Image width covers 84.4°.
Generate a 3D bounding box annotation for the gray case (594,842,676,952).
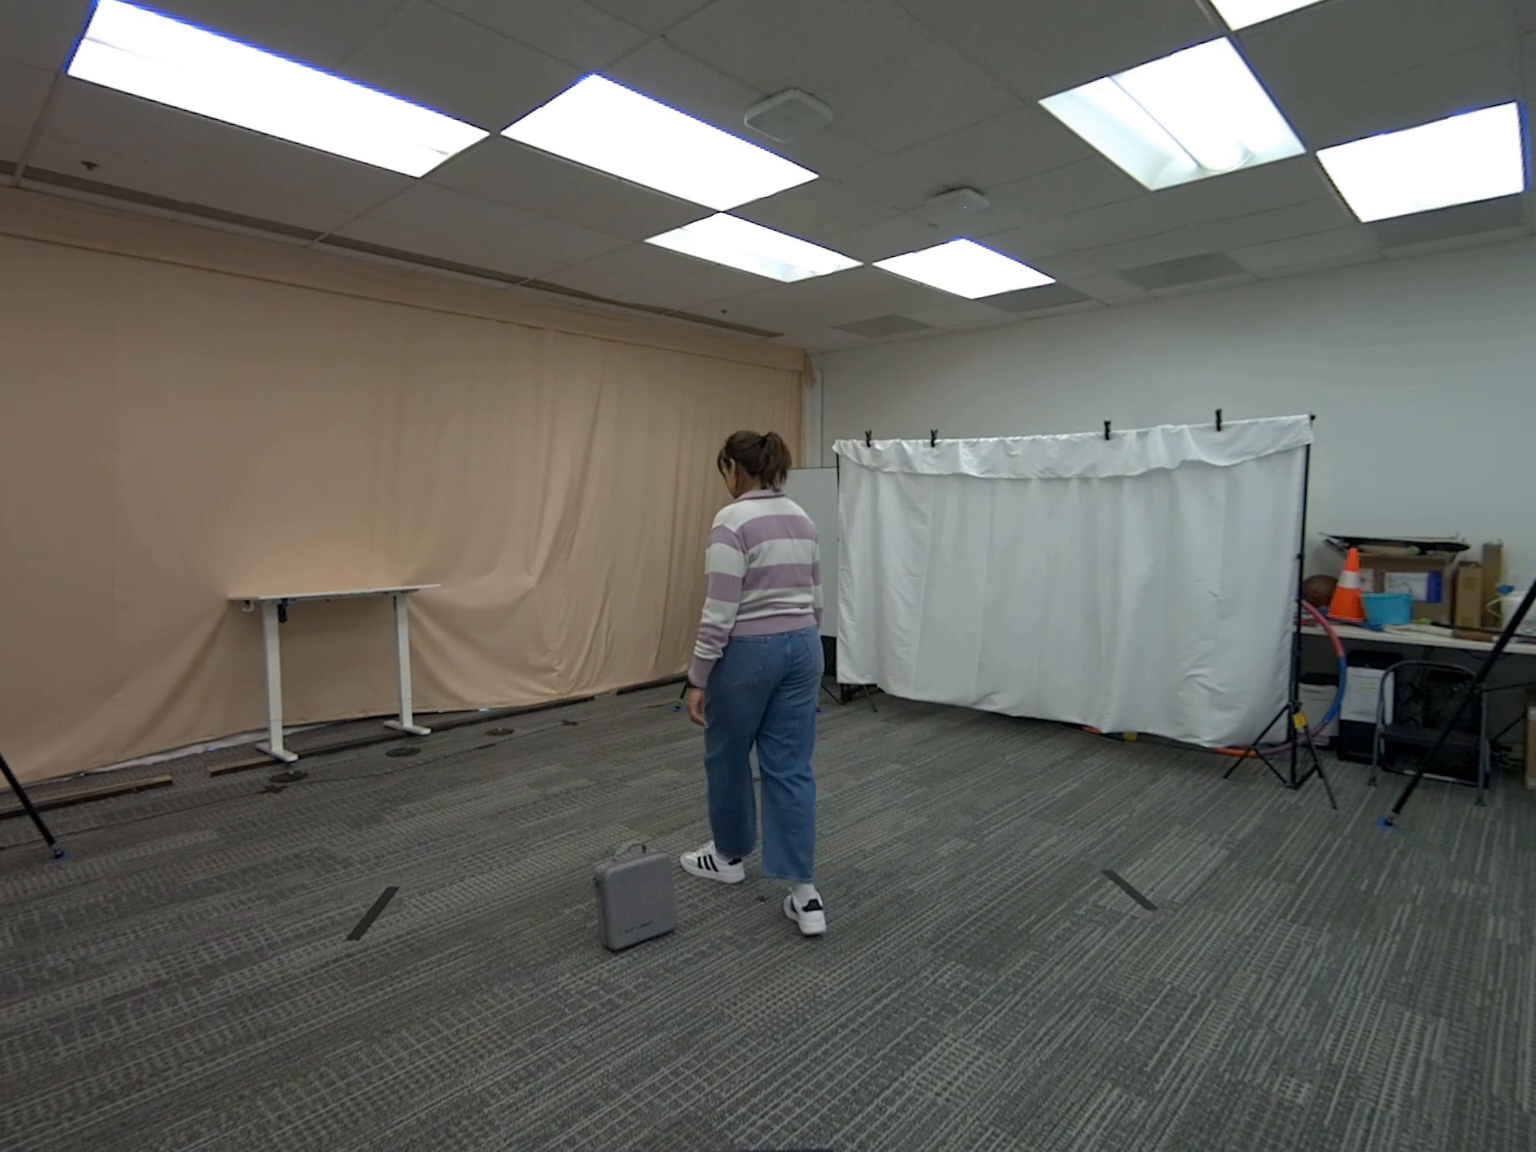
[{"bbox_3d":[-0.433,1.037,2.718,0.249,0.261,0.107,-3,-4,-36],"label":"gray case"}]
